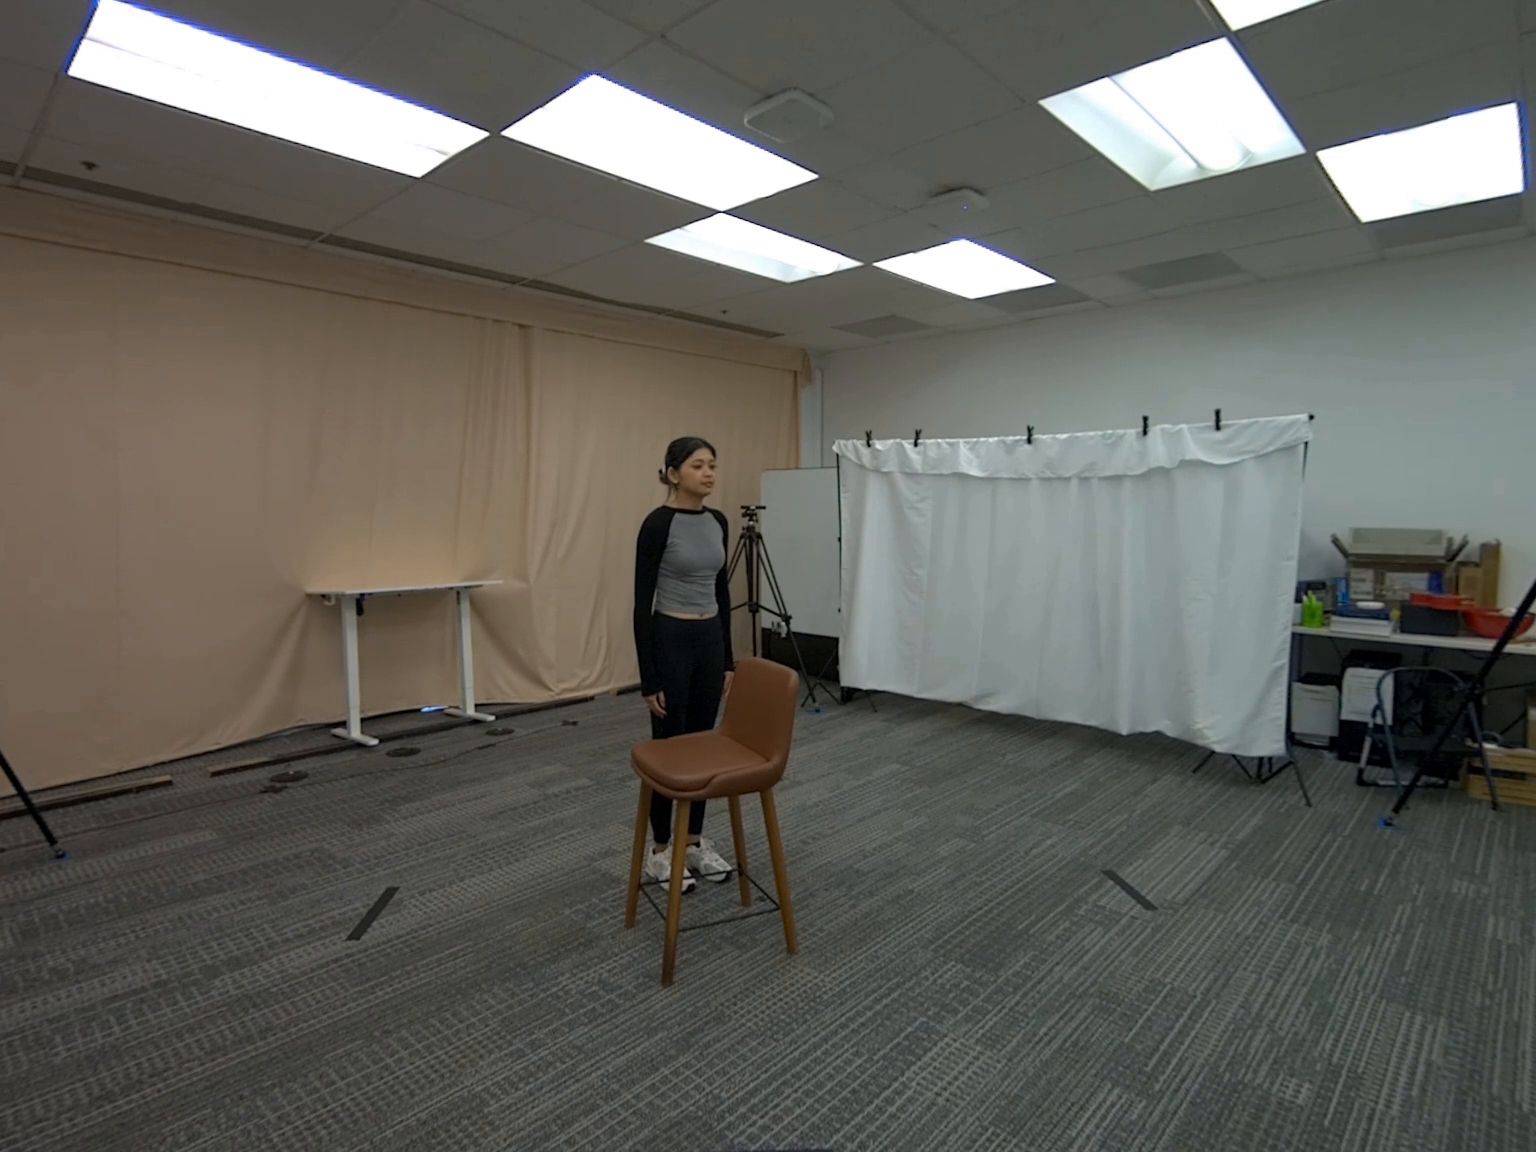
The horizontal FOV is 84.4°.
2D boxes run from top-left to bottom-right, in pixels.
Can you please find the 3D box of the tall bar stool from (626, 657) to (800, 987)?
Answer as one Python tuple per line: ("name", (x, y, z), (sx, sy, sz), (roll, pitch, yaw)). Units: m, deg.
("tall bar stool", (-0.178, 0.735, 2.682), (0.456, 0.888, 0.468), (0, 3, -25))
